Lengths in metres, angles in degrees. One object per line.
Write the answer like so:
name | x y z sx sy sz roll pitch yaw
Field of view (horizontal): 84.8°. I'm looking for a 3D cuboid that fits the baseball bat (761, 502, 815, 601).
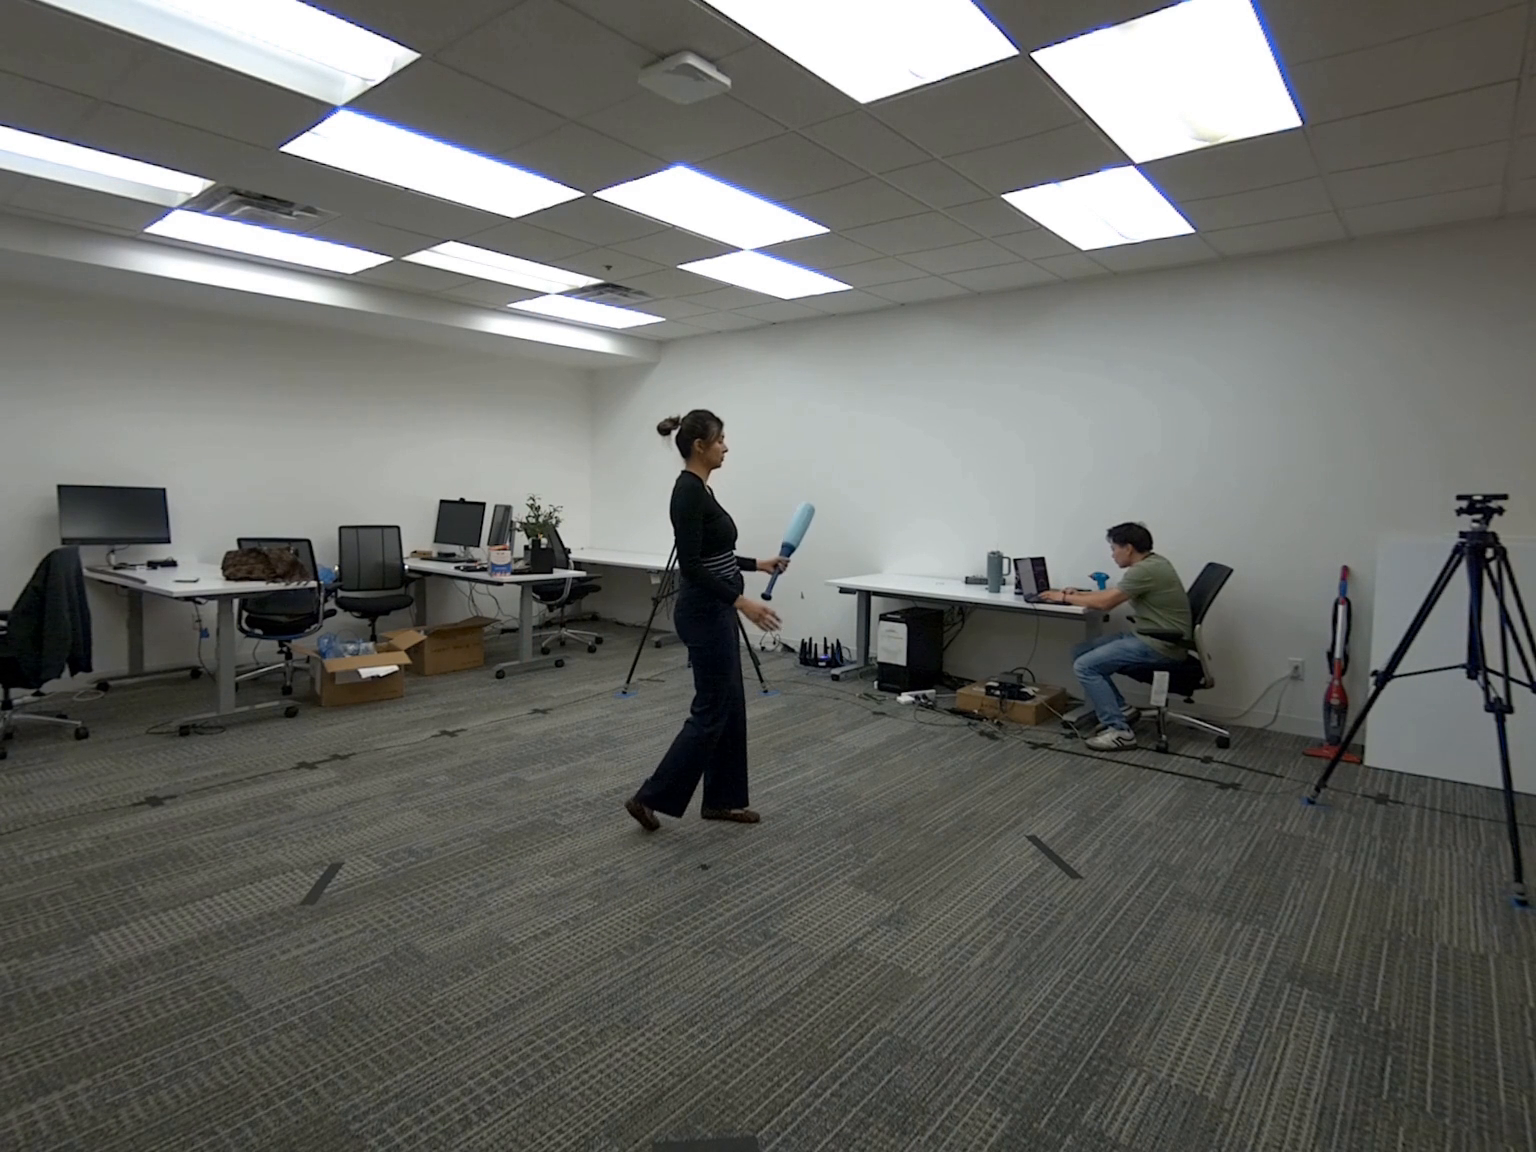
baseball bat | 0.068 -0.113 3.832 0.090 0.548 0.087 20 -30 10
